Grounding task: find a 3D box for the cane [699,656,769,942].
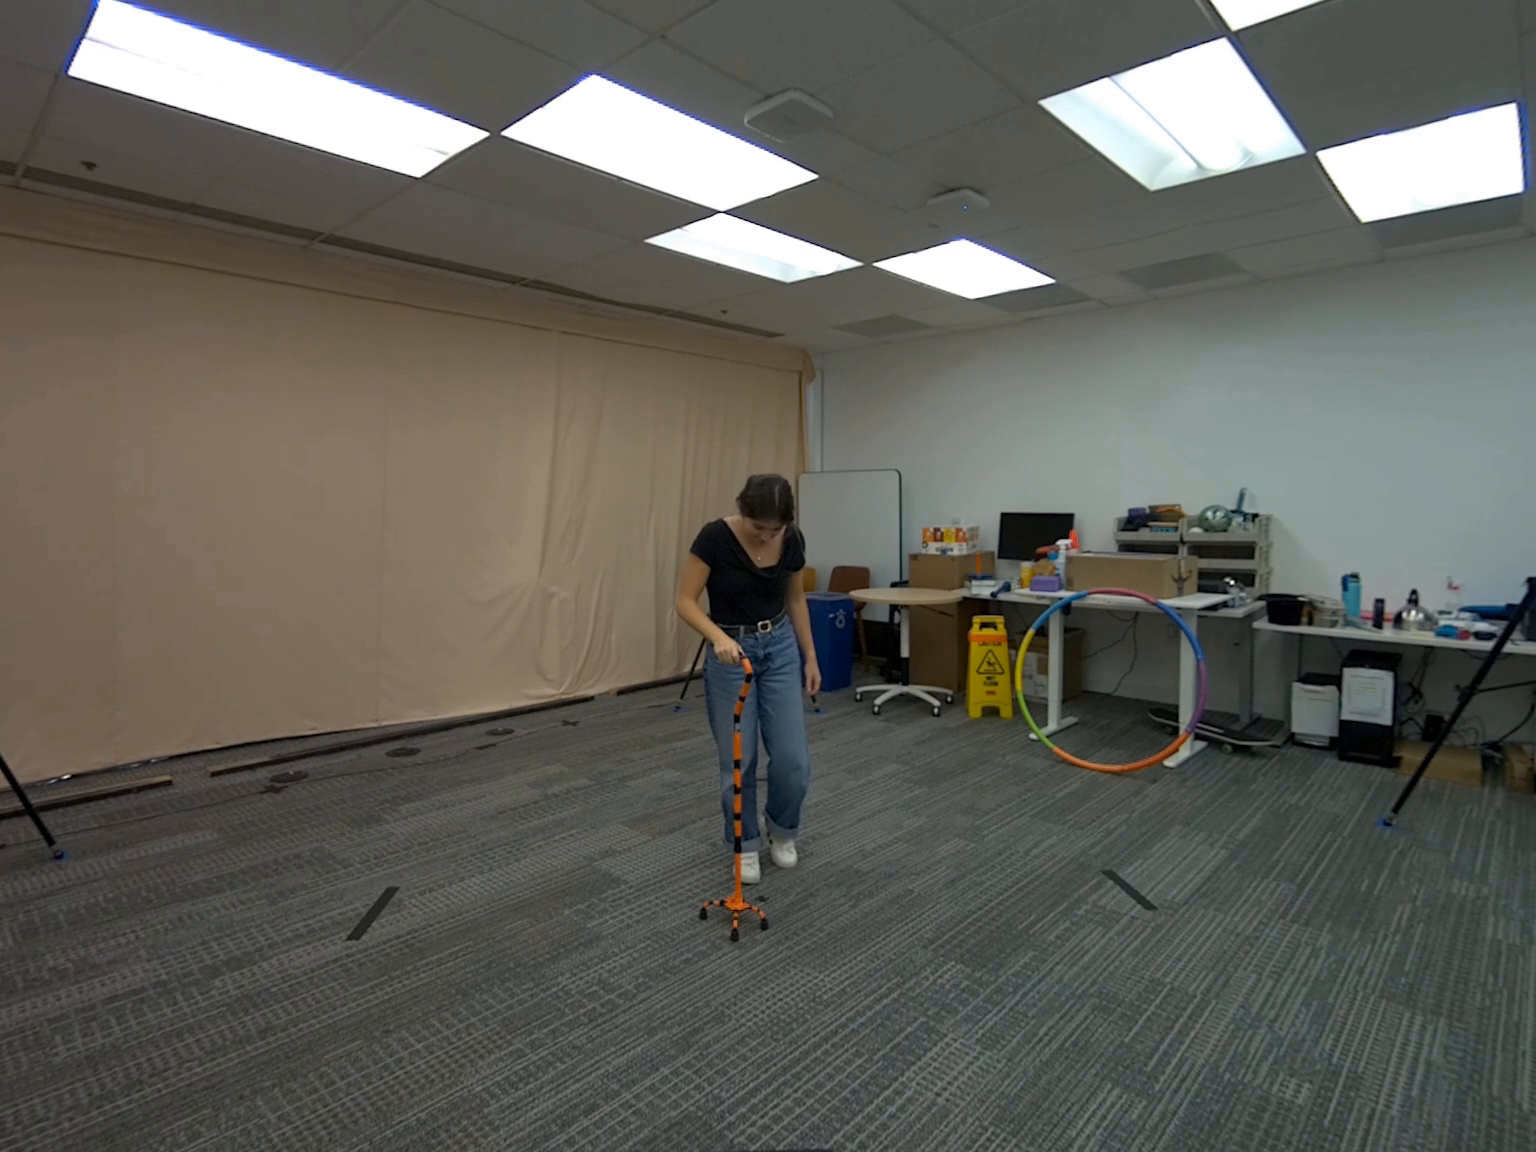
[{"bbox_3d":[-0.115,0.699,2.795,0.147,0.906,0.213,-3,4,-38],"label":"cane"}]
